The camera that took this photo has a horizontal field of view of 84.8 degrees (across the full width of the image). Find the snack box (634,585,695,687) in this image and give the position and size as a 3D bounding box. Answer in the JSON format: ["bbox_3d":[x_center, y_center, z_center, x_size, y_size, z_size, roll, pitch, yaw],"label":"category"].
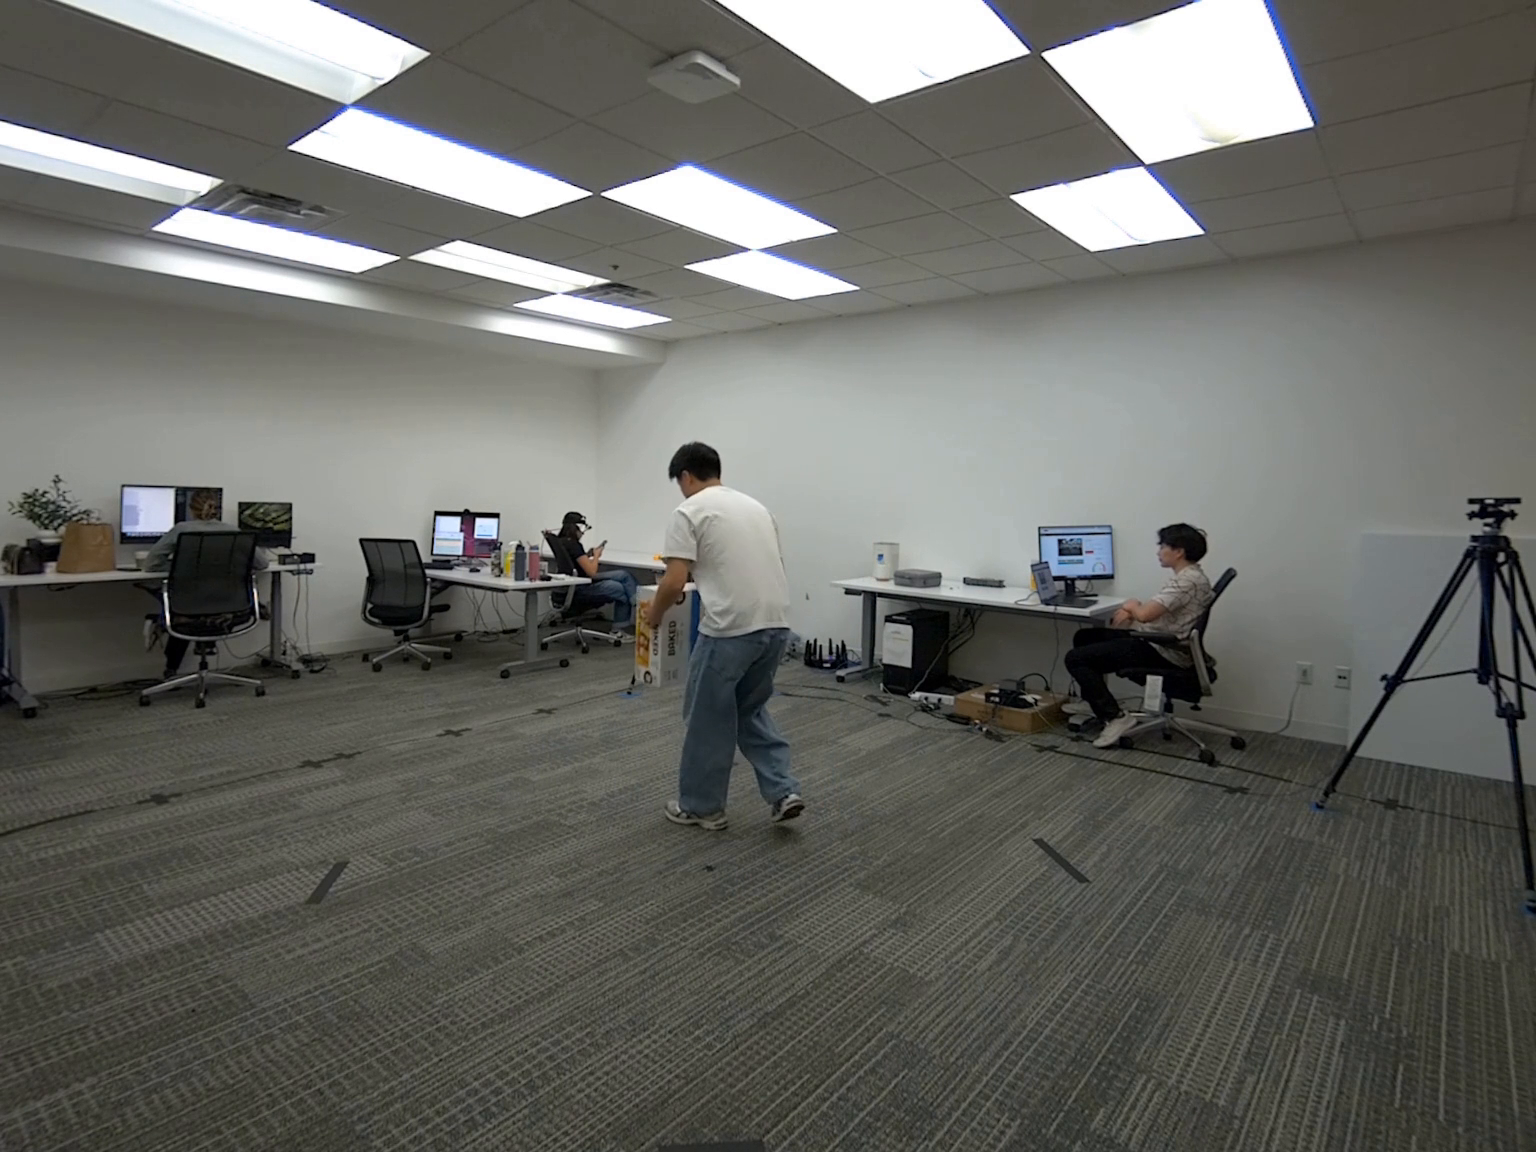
[{"bbox_3d":[-0.388,0.255,3.701,0.330,0.403,0.213,-3,6,-40],"label":"snack box"}]
